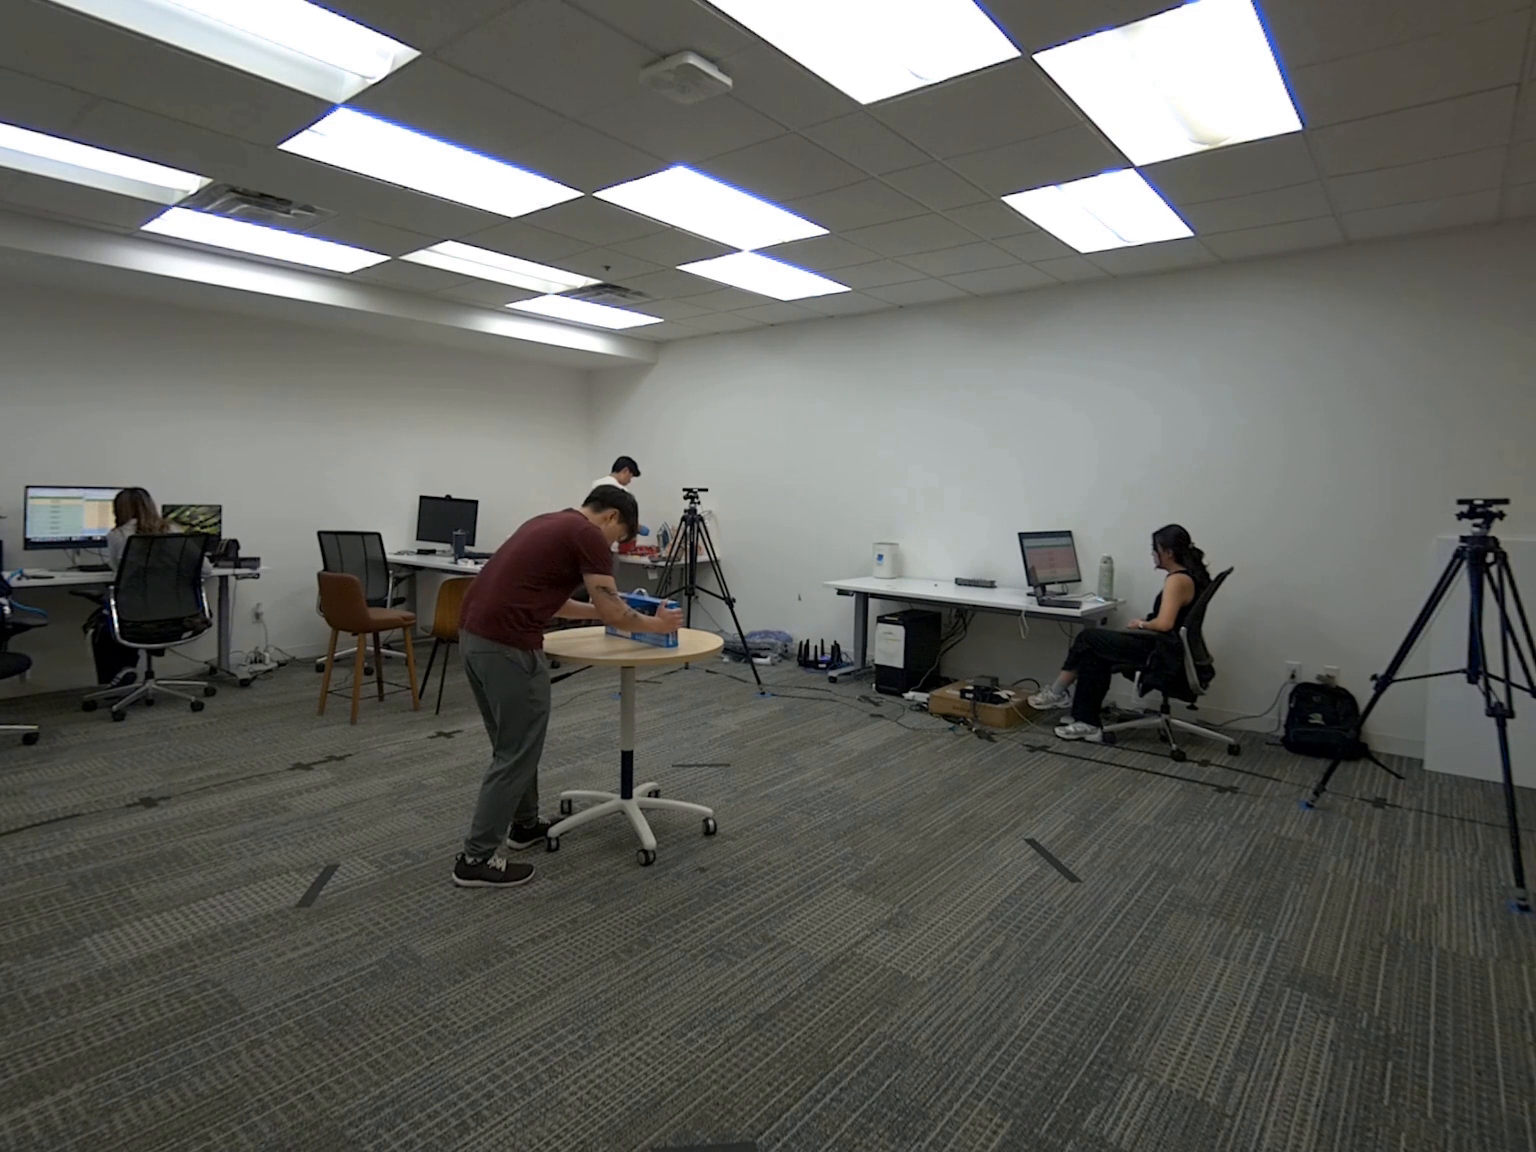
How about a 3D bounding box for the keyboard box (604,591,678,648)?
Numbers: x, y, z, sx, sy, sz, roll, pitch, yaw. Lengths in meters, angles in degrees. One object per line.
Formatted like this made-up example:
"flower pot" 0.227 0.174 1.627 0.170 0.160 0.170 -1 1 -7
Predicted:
"keyboard box" -0.531 0.176 3.427 0.057 0.175 0.451 -1 4 -42
